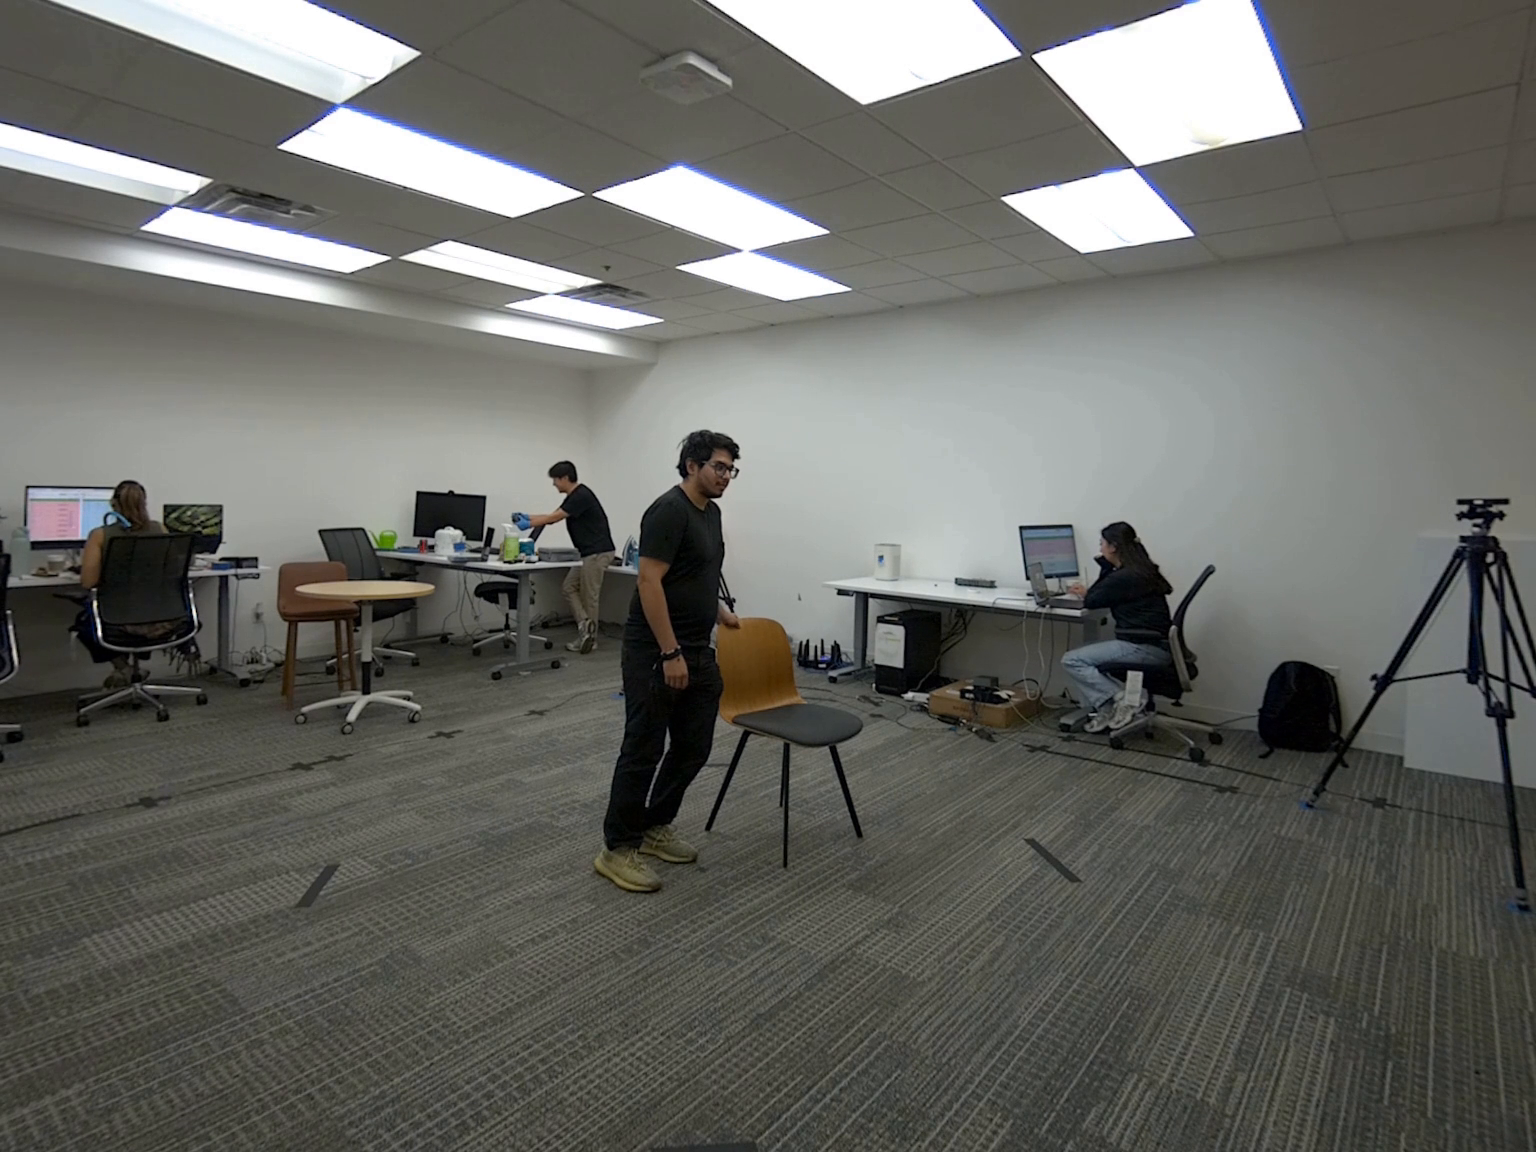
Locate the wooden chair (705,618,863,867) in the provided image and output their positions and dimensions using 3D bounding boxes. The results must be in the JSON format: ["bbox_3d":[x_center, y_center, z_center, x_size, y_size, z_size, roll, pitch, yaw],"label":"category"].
[{"bbox_3d":[0.074,0.619,3.417,0.463,0.877,0.539,-2,0,-44],"label":"wooden chair"}]
